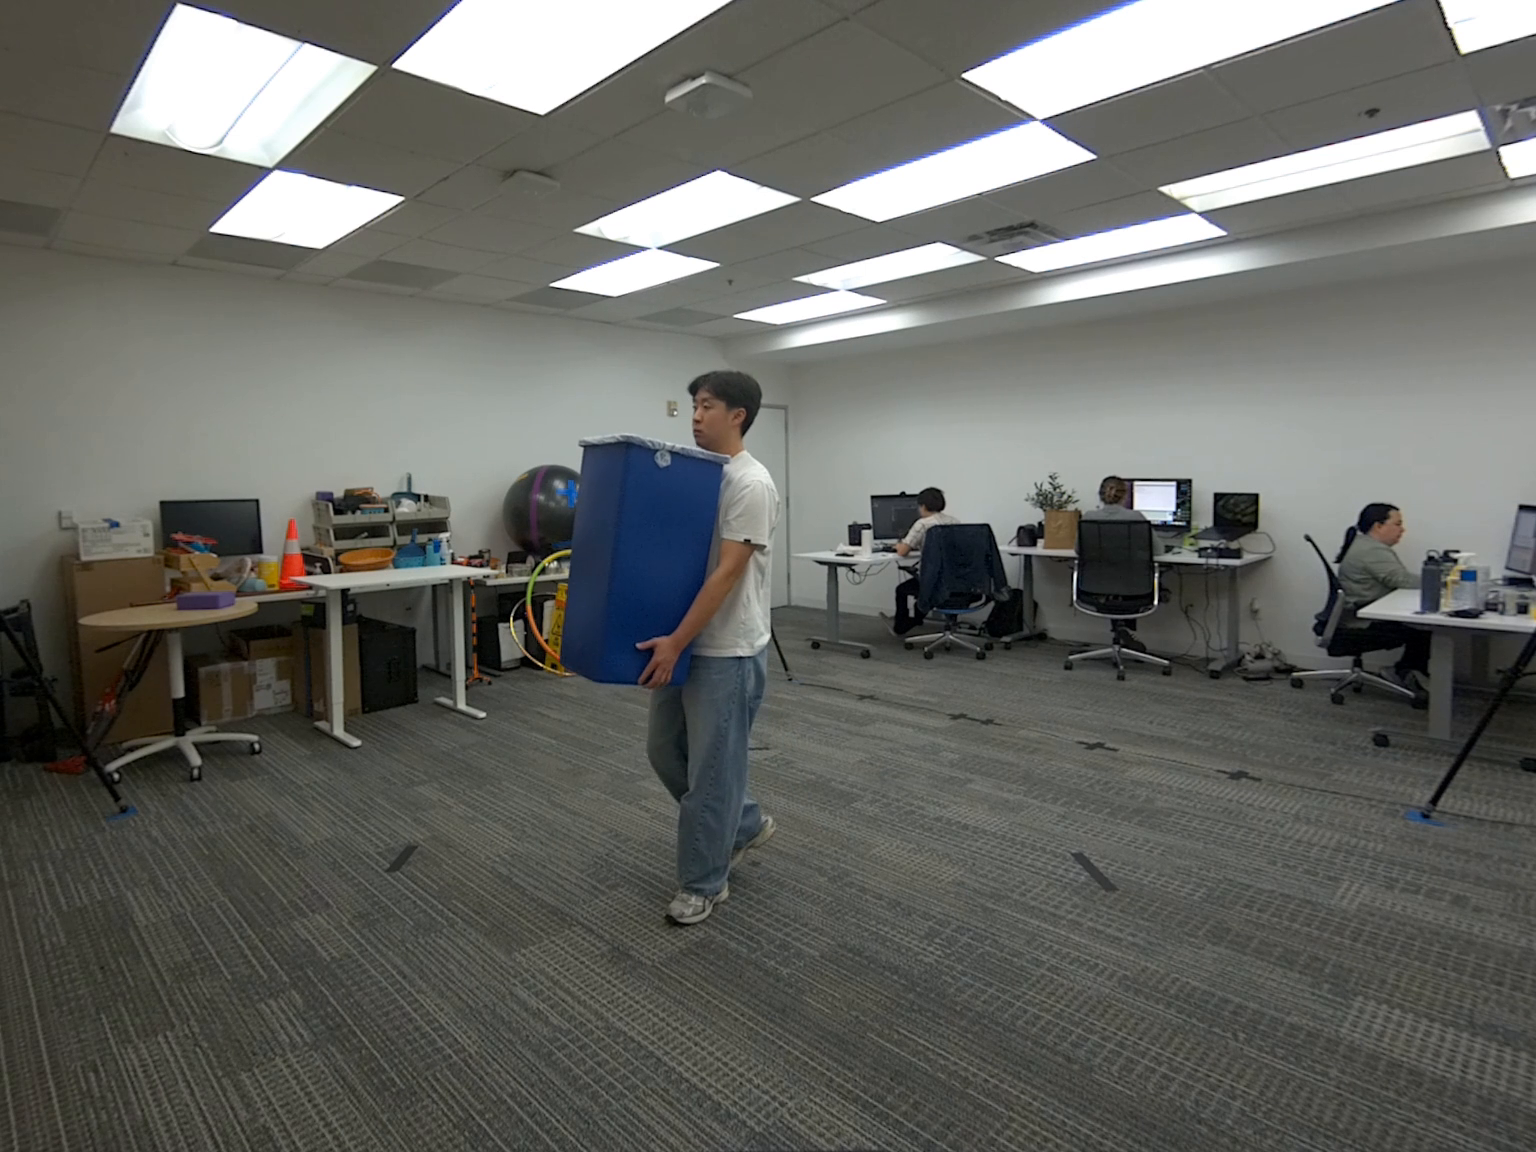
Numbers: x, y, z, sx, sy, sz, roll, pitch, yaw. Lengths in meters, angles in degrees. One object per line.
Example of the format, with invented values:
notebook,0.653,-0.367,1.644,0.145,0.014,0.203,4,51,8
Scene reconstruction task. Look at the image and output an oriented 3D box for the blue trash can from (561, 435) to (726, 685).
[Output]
blue trash can,-0.414,-0.050,2.637,0.366,0.714,0.385,9,-2,-35
